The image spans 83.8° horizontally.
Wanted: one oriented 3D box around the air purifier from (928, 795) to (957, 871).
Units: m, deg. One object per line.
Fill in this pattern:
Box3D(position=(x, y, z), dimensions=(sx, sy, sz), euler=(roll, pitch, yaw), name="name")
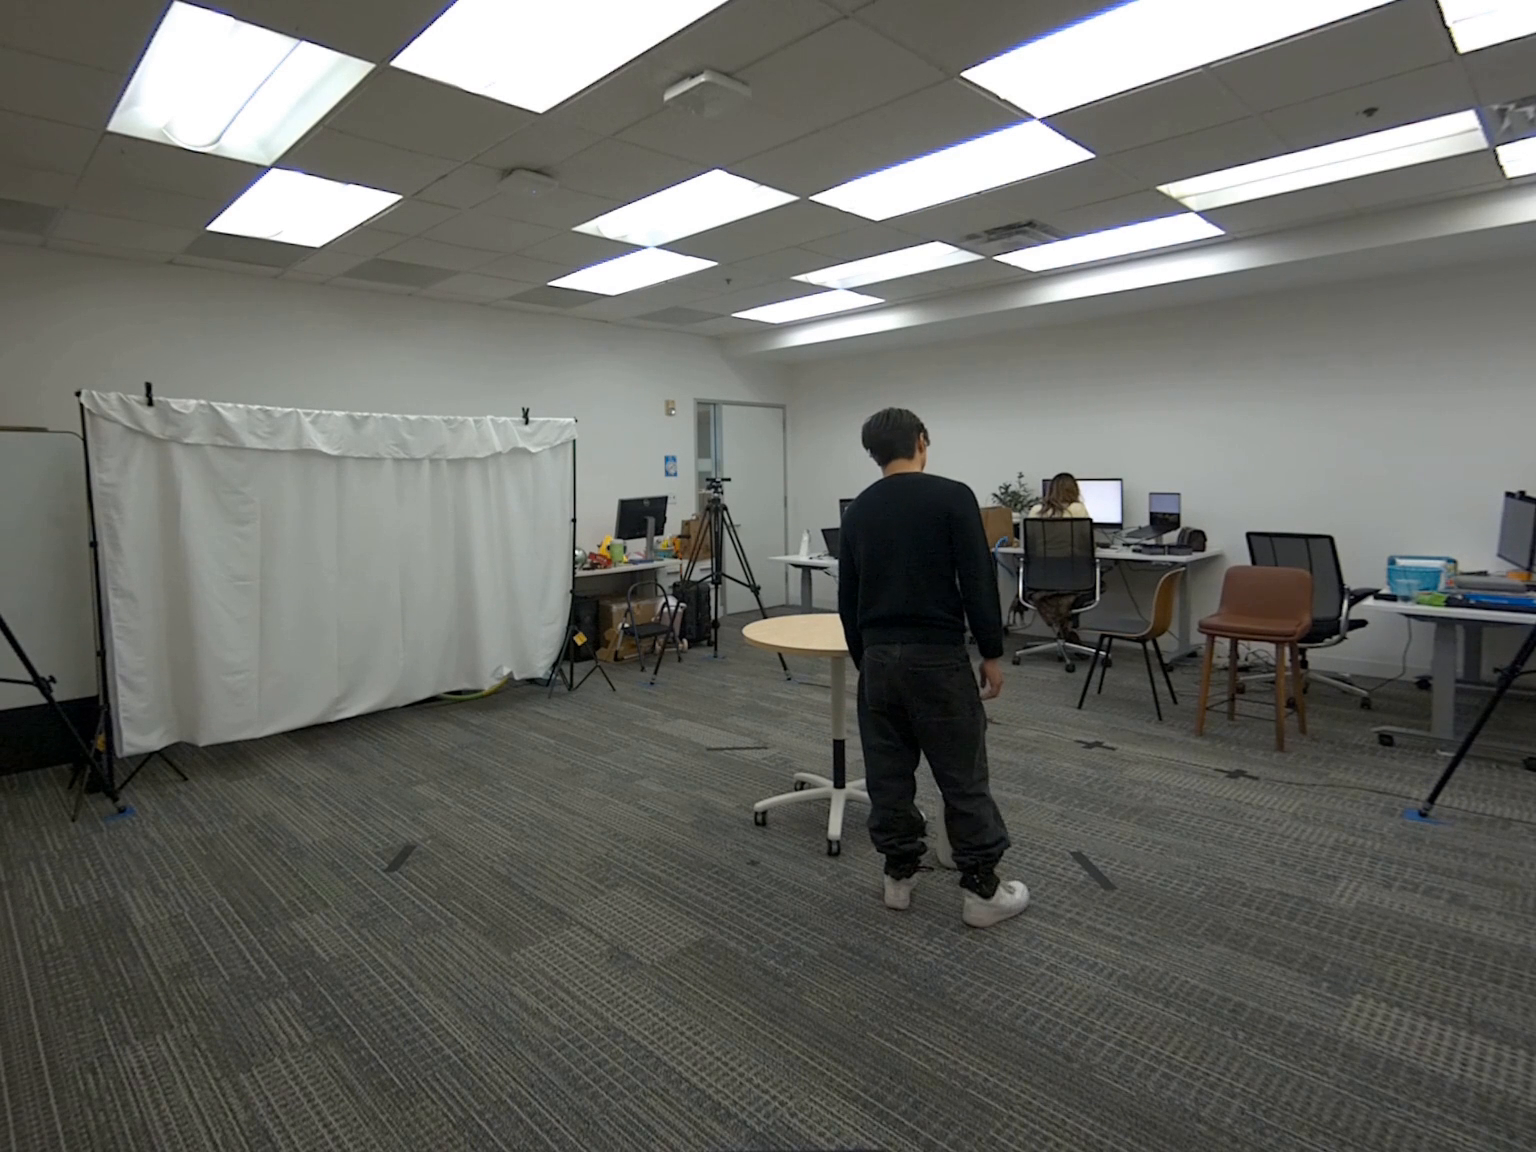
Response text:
Box3D(position=(0.708, 0.902, 3.078), dimensions=(0.172, 0.265, 0.170), euler=(-1, 3, 5), name="air purifier")
